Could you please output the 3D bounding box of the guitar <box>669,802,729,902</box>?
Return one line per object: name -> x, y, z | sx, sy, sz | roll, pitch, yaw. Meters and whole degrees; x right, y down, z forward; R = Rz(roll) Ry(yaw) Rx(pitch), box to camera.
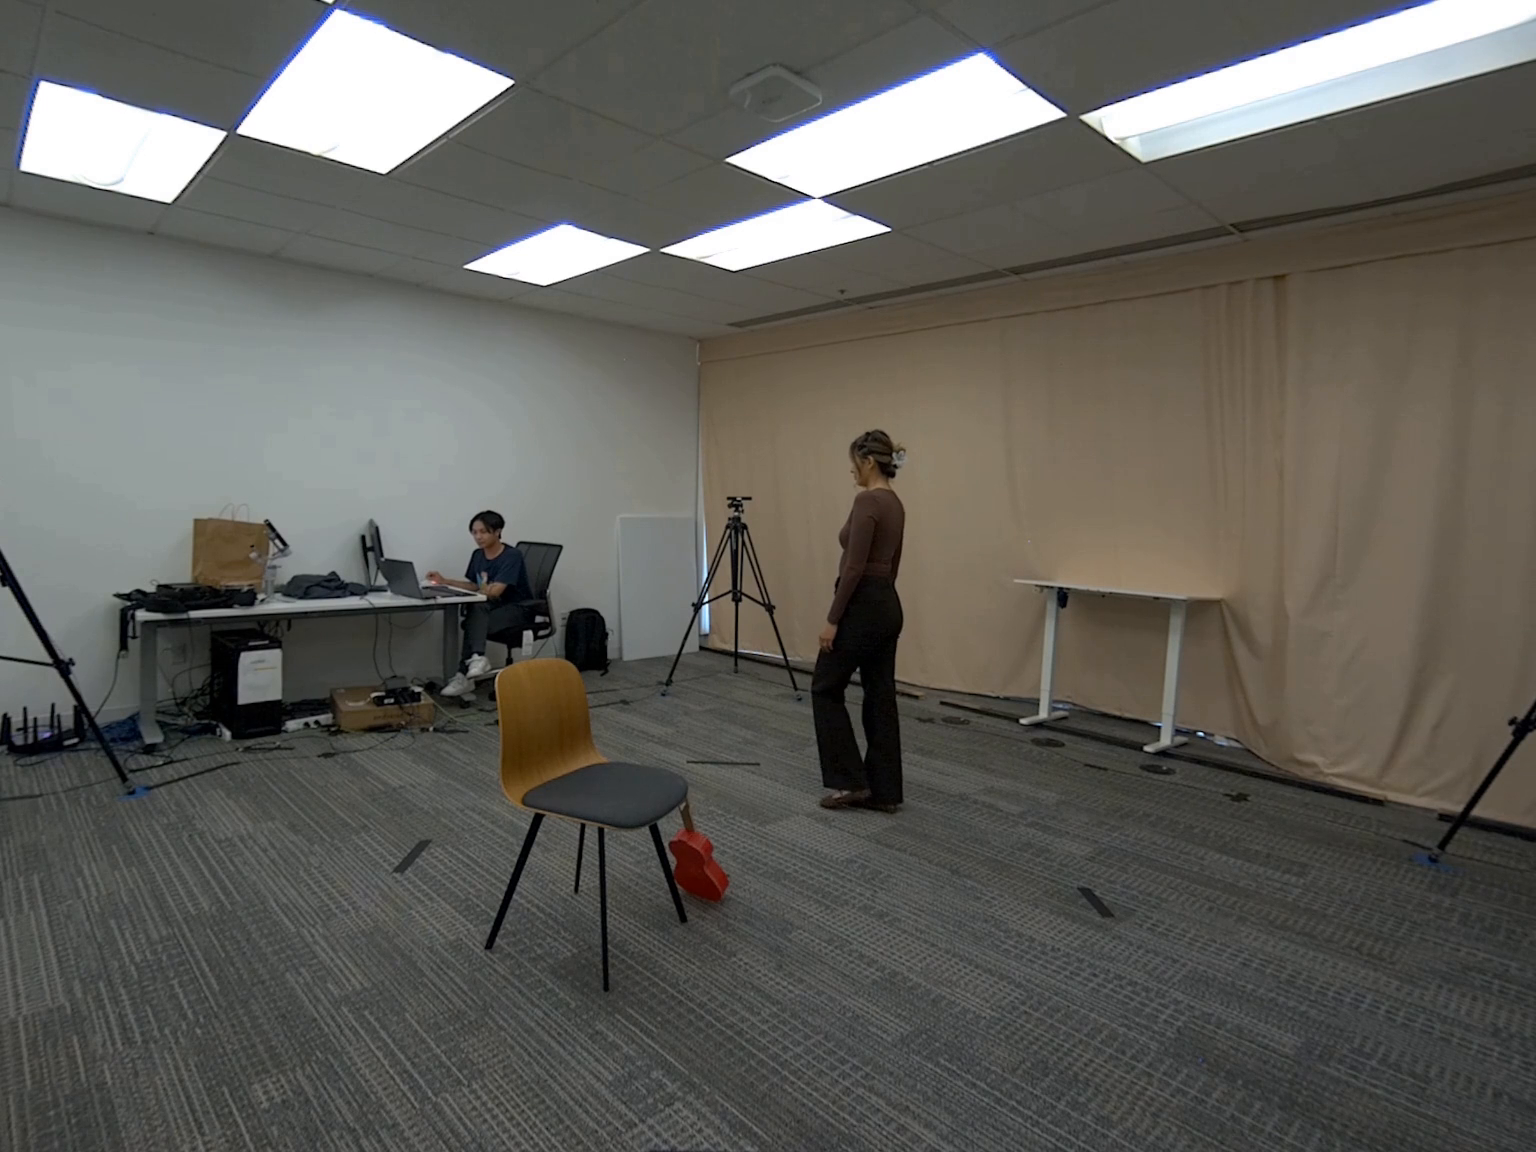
guitar -> -0.292, 0.897, 2.866 | 0.197, 0.488, 0.070 | -3, 26, 35
